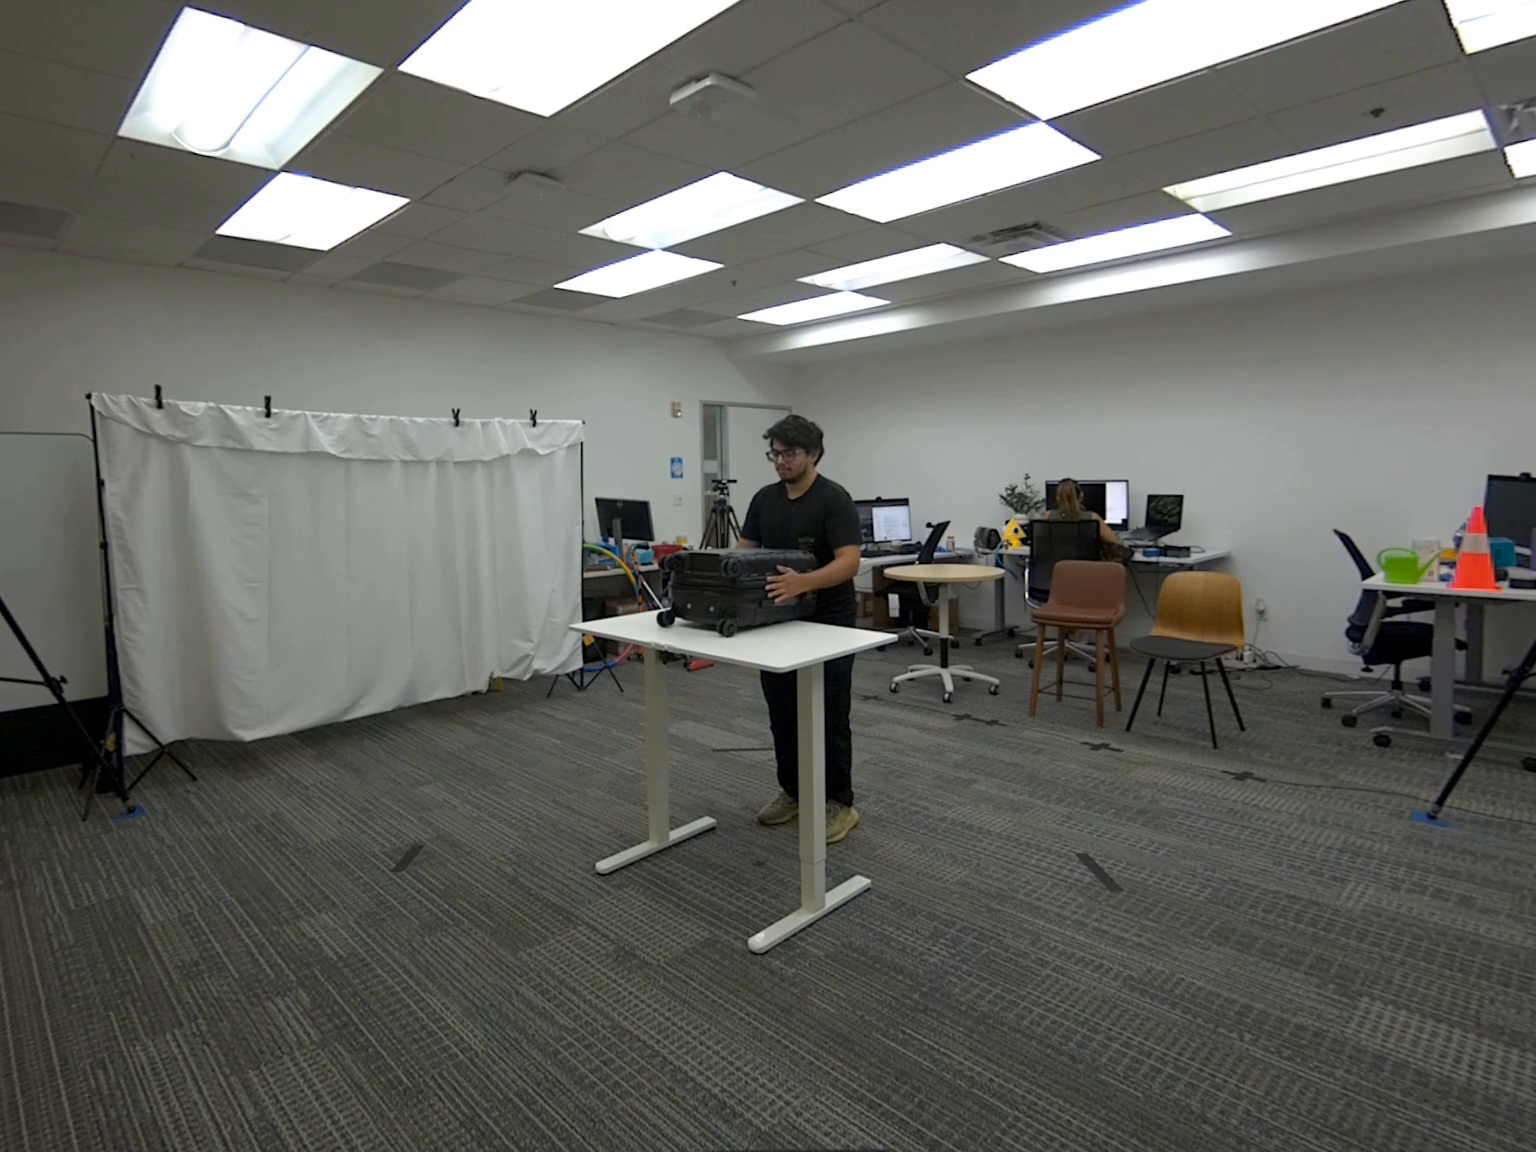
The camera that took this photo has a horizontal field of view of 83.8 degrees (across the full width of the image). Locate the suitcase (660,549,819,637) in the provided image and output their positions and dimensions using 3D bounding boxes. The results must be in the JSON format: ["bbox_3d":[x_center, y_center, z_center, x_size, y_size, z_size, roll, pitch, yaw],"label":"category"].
[{"bbox_3d":[-0.089,0.040,3.094,0.387,0.247,0.534,4,6,41],"label":"suitcase"}]
